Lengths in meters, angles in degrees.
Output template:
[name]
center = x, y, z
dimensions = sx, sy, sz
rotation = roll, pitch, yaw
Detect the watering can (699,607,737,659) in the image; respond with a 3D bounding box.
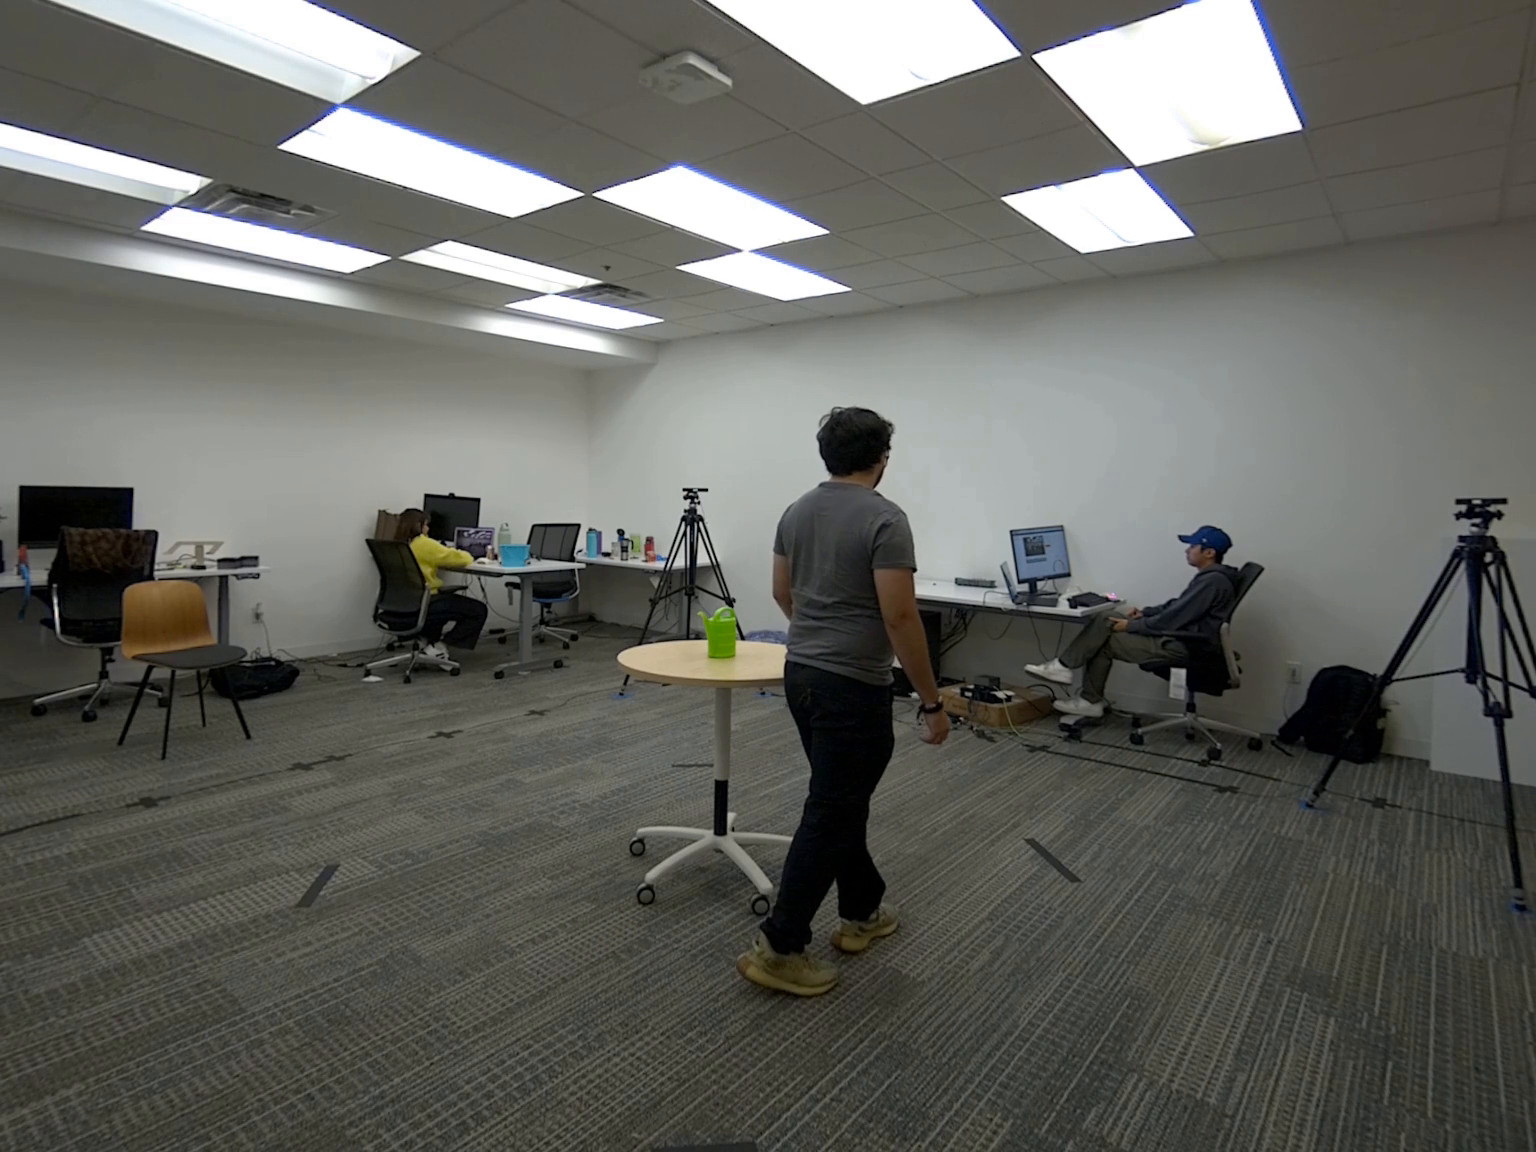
[watering can]
center = -0.206, 0.203, 3.071
dimensions = 0.101, 0.176, 0.270
rotation = 1, 3, 37
